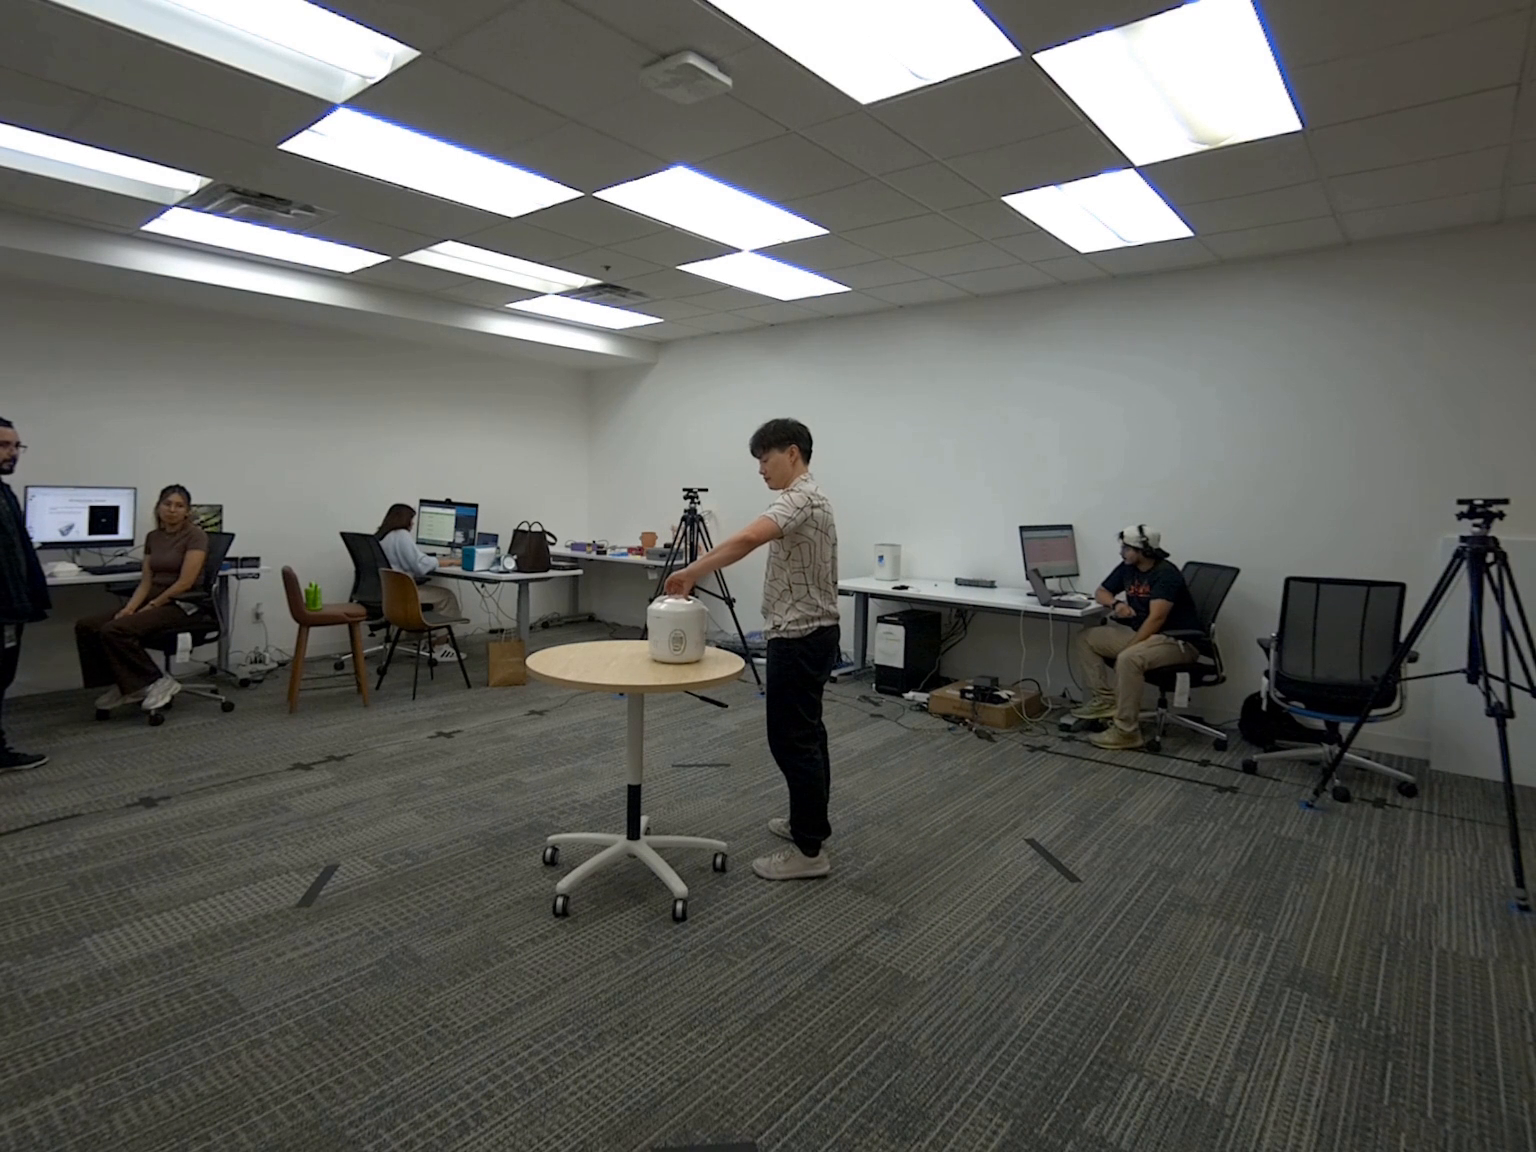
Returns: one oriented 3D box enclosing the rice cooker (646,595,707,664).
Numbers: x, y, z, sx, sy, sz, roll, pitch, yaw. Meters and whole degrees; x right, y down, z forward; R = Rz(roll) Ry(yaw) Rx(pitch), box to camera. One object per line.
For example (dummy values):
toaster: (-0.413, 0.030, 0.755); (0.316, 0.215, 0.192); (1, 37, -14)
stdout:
rice cooker: (-0.330, 0.176, 3.020); (0.219, 0.232, 0.219); (2, 4, -5)
